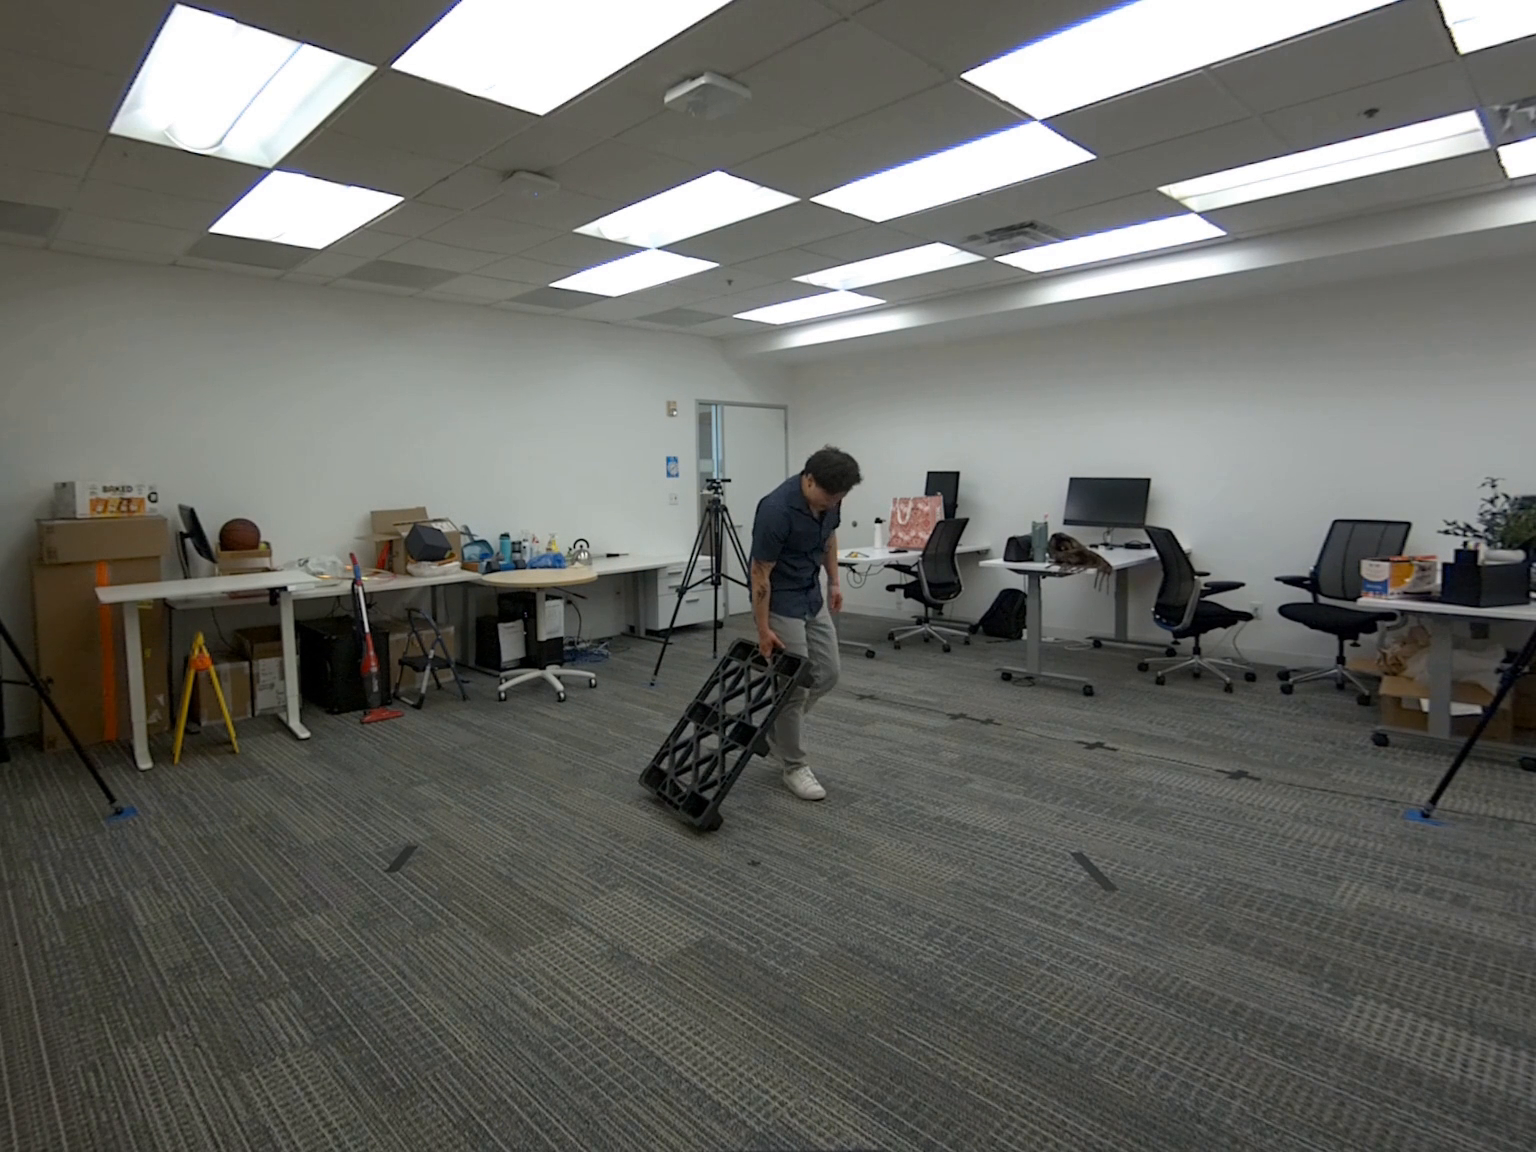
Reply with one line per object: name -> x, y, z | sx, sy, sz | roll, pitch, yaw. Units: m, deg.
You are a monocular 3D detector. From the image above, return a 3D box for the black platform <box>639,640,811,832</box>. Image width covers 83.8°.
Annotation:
black platform -> -0.167, 0.665, 3.685 | 0.139, 0.808, 0.621 | 42, -17, -26
